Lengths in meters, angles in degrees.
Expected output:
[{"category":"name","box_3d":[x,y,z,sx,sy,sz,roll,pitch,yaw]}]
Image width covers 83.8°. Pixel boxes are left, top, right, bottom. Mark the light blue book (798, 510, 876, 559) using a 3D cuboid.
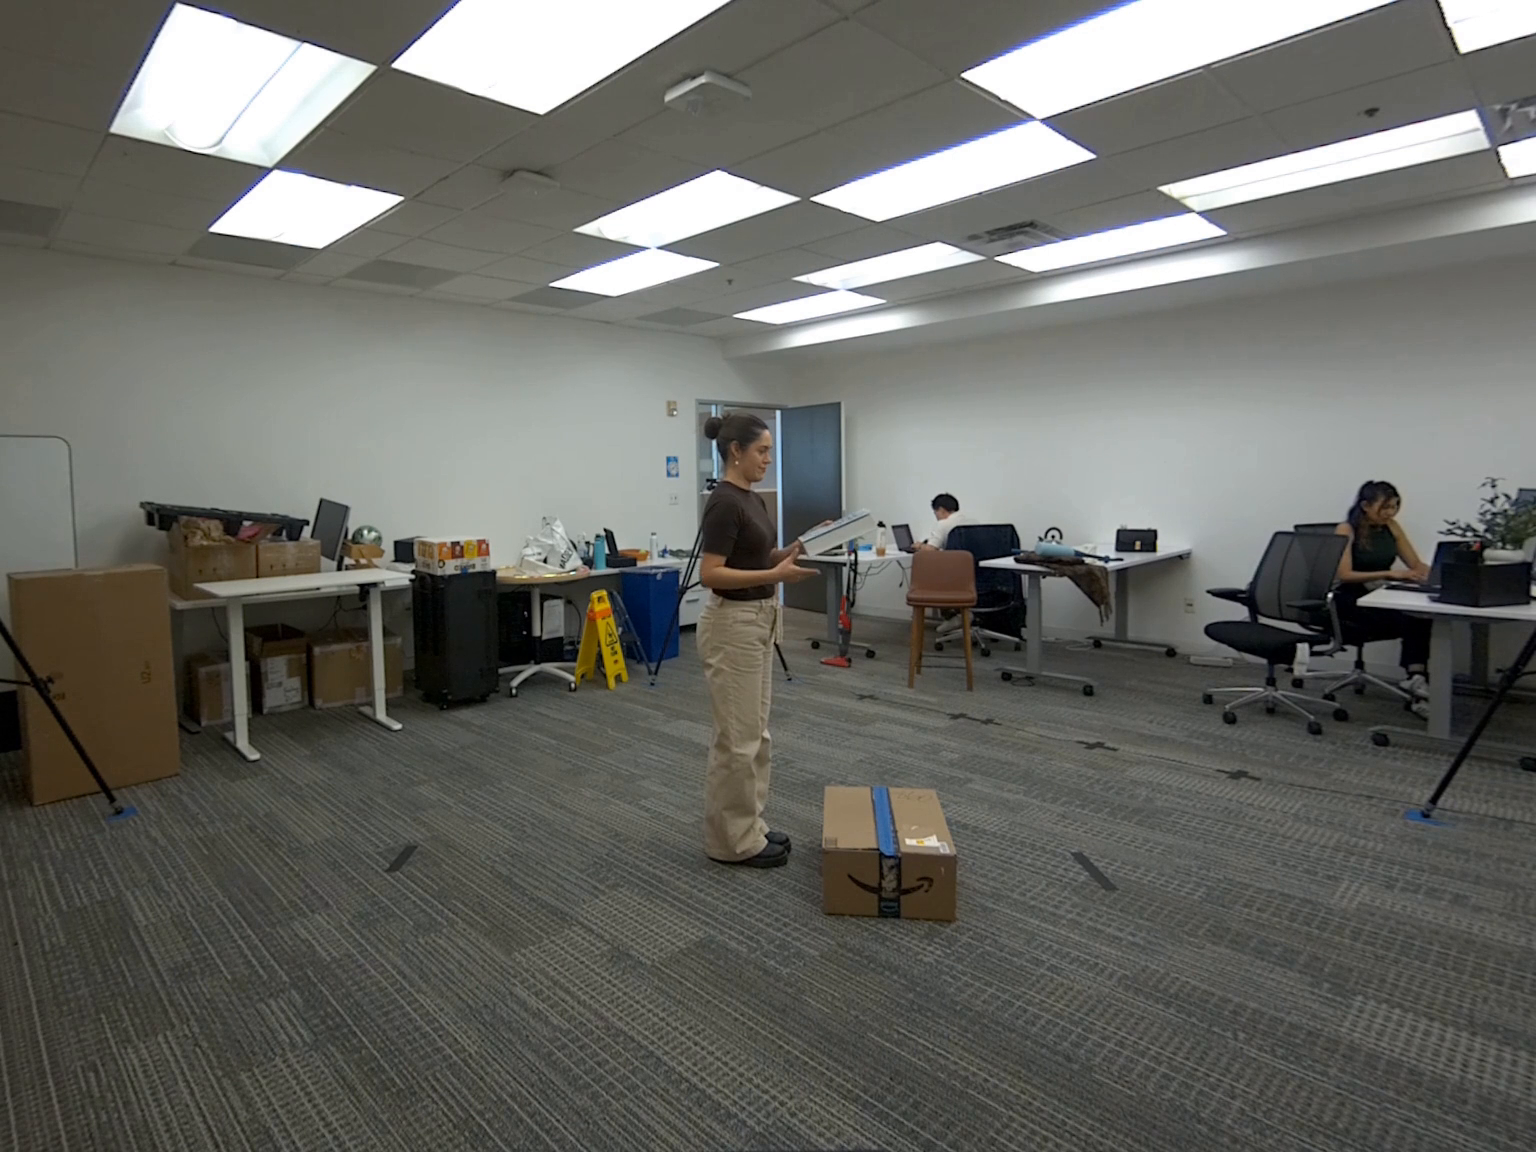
[{"category":"light blue book","box_3d":[0.243,-0.152,2.979,0.262,0.058,0.192,-23,7,6]}]
